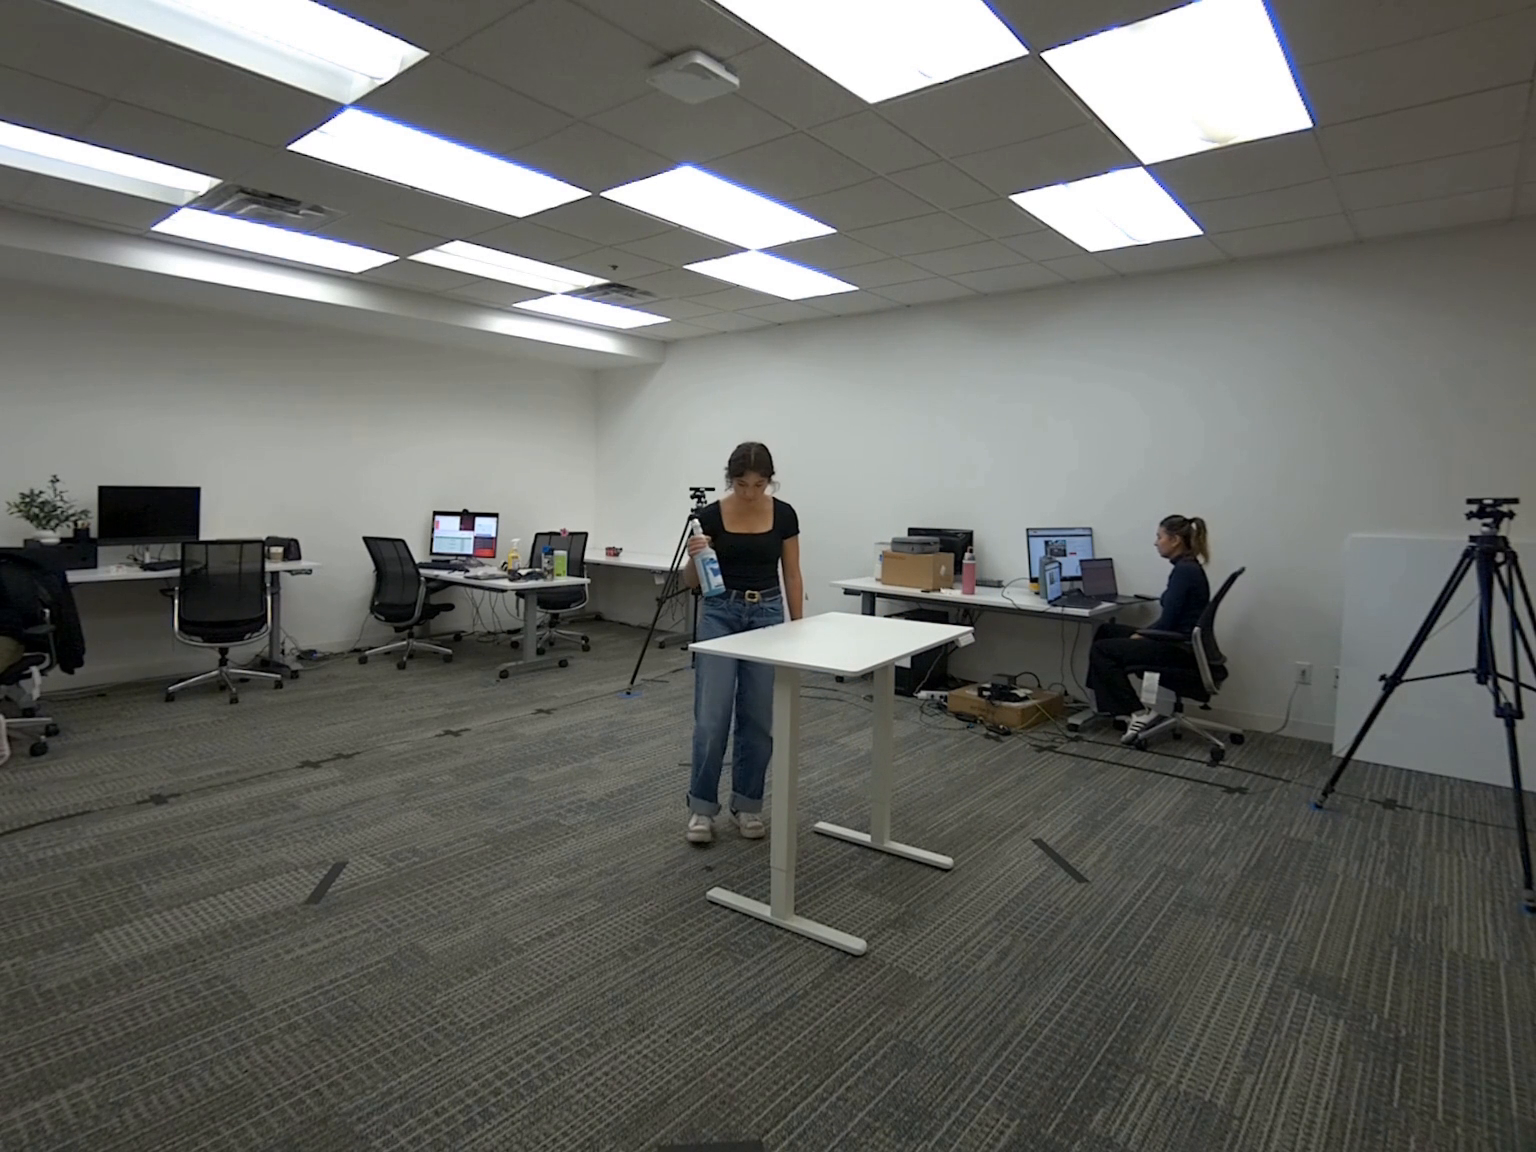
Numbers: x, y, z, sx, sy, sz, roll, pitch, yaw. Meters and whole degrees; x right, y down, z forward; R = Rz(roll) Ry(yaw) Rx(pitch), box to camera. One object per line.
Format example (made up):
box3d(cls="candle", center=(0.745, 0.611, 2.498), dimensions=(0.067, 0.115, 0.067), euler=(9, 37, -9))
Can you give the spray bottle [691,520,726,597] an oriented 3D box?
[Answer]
box3d(cls="spray bottle", center=(-0.248, -0.074, 3.219), dimensions=(0.088, 0.301, 0.088), euler=(-14, -10, 11))
